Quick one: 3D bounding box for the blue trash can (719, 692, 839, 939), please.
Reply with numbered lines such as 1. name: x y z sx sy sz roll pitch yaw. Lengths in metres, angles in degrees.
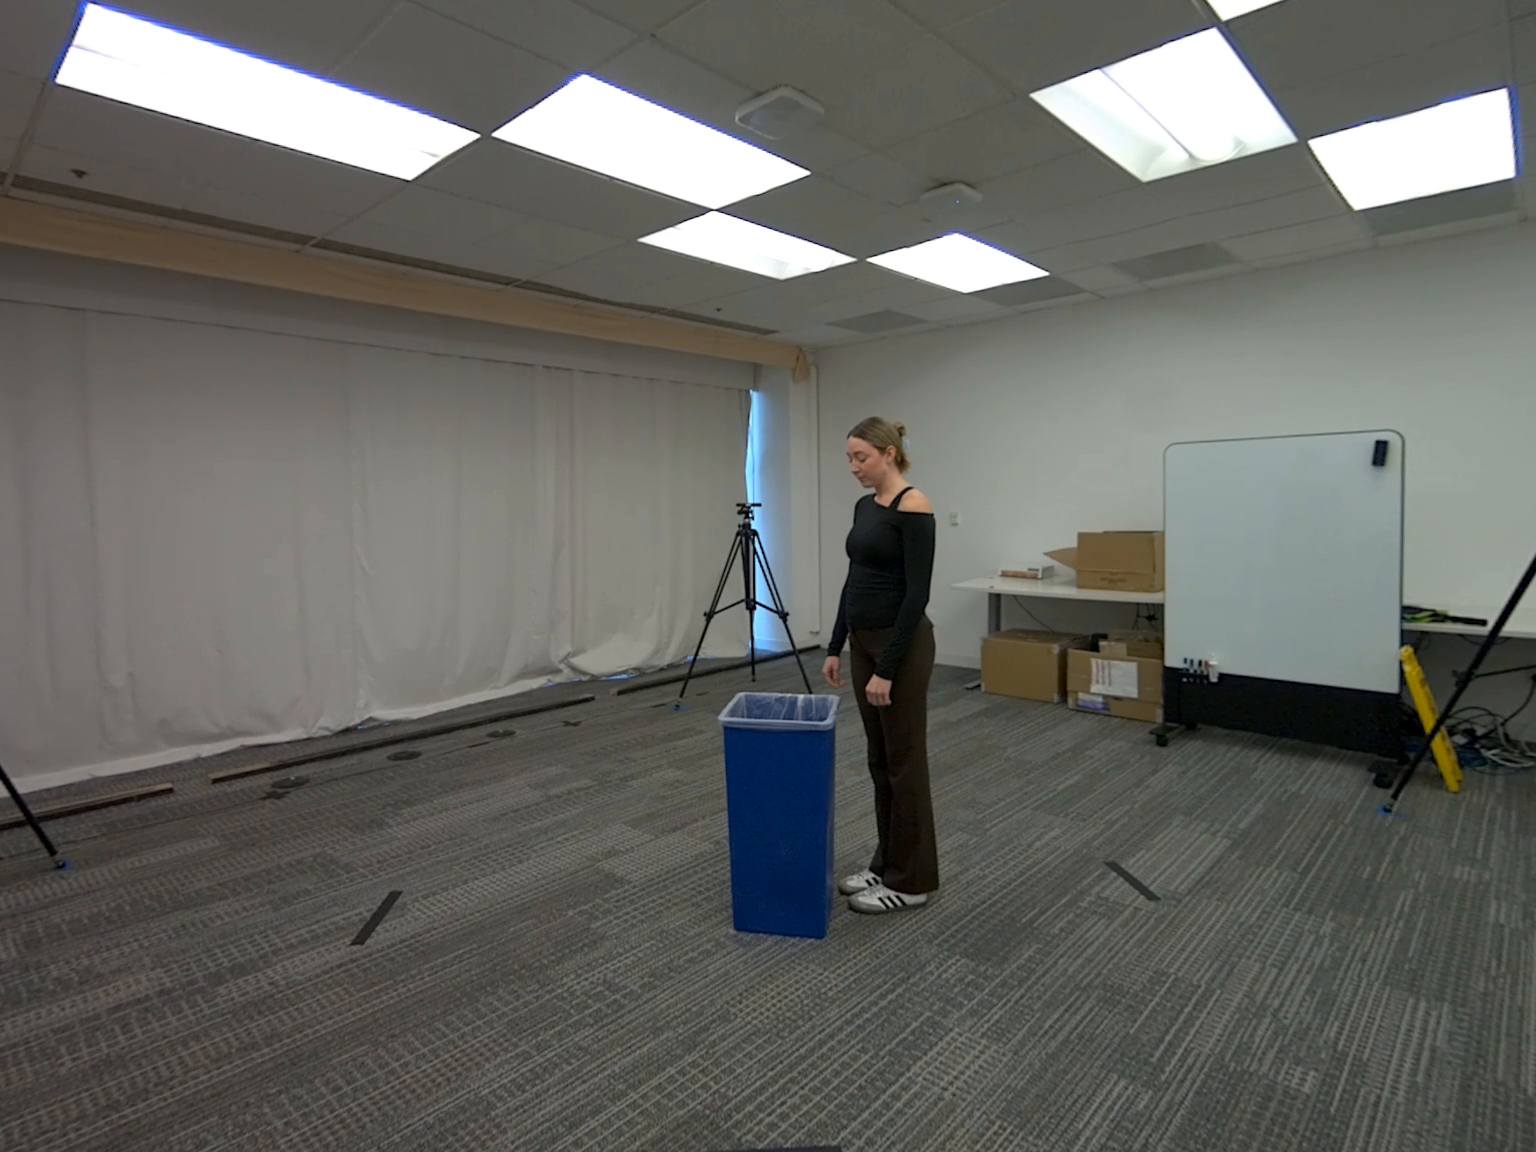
1. blue trash can: 0.059 0.792 2.833 0.383 0.712 0.370 -1 3 11
